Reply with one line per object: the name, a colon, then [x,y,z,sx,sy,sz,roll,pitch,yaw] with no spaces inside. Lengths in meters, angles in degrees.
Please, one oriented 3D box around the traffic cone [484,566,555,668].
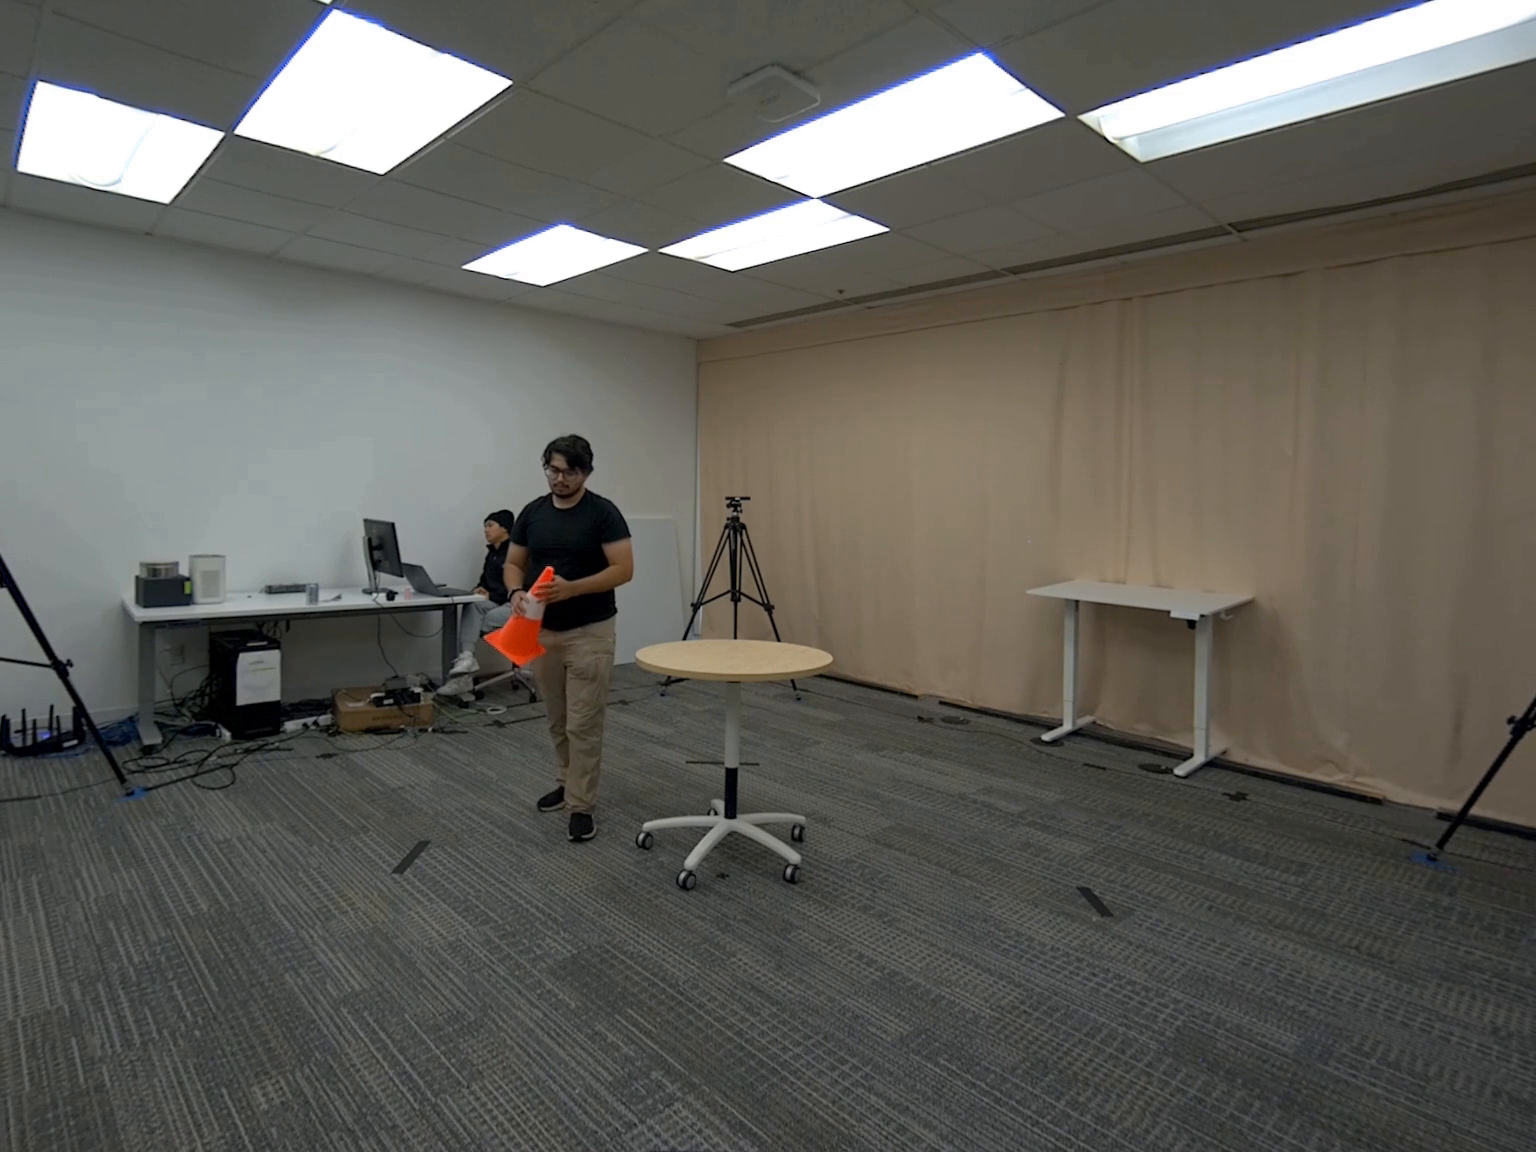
traffic cone: [-0.963,0.130,3.347,0.205,0.381,0.204,30,21,7]
